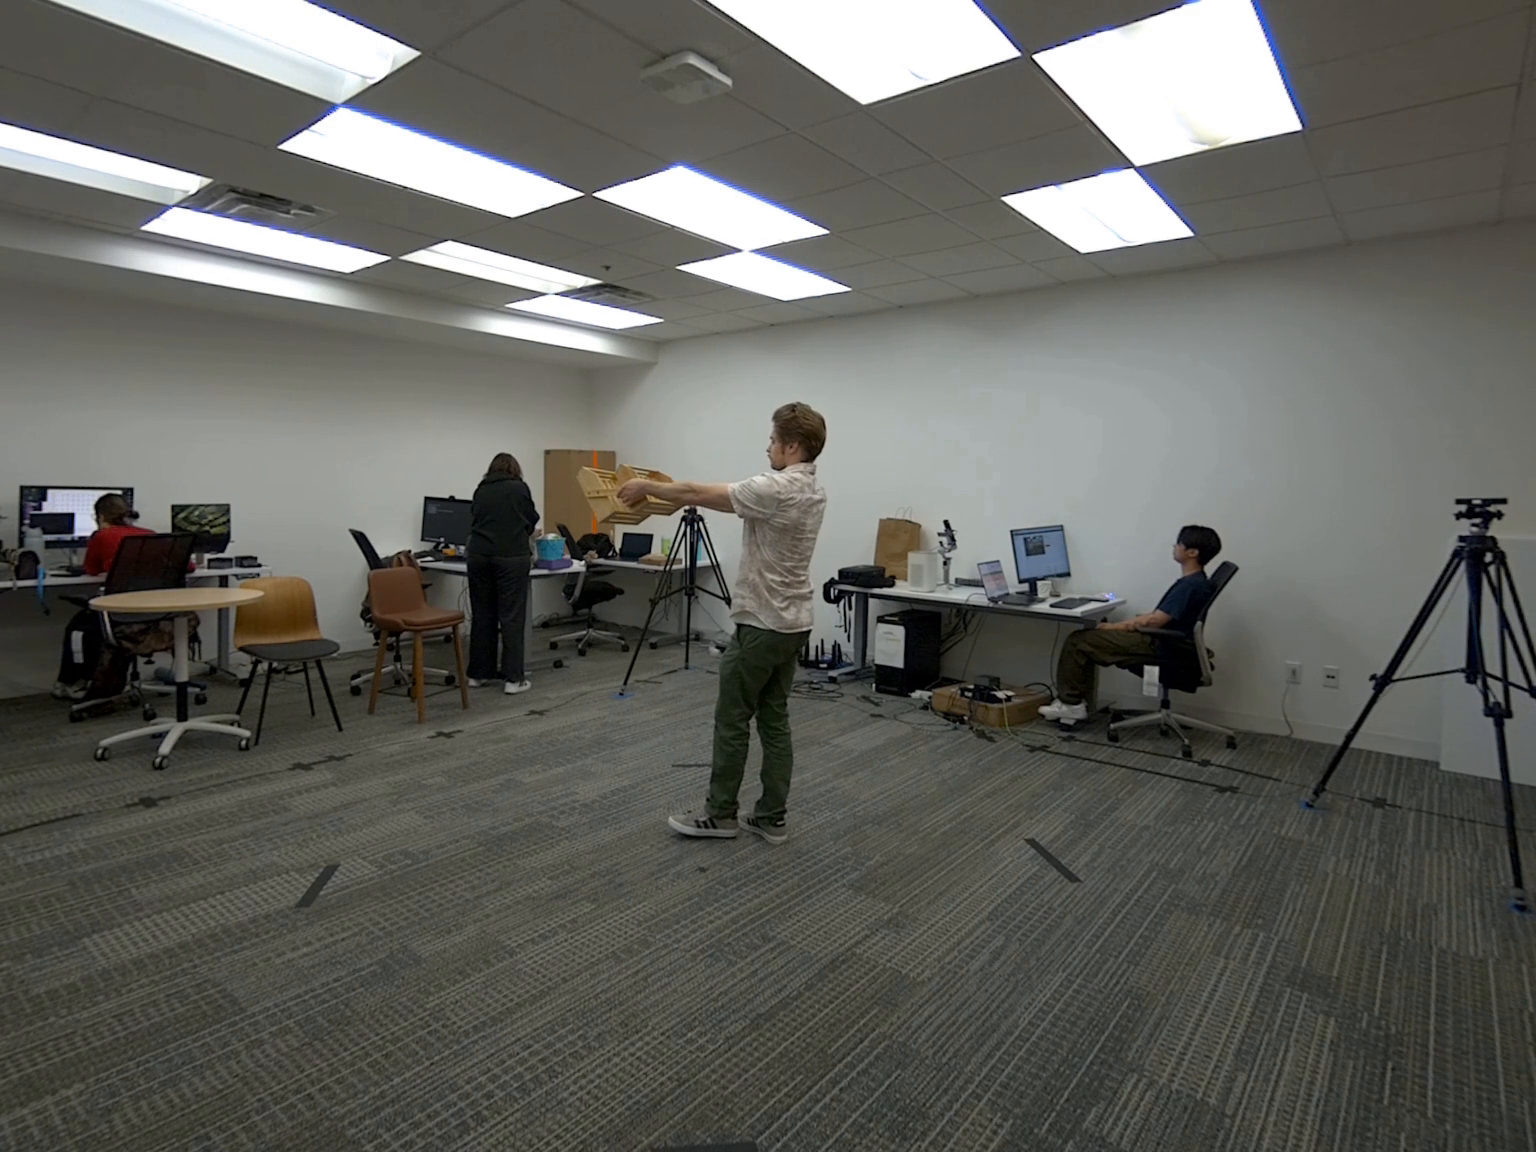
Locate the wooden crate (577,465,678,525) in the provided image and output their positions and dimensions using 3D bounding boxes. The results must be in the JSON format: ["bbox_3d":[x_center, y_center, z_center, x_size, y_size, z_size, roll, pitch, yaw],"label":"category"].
[{"bbox_3d":[-0.604,-0.382,3.673,0.275,0.307,0.316,-32,-13,21],"label":"wooden crate"}]
